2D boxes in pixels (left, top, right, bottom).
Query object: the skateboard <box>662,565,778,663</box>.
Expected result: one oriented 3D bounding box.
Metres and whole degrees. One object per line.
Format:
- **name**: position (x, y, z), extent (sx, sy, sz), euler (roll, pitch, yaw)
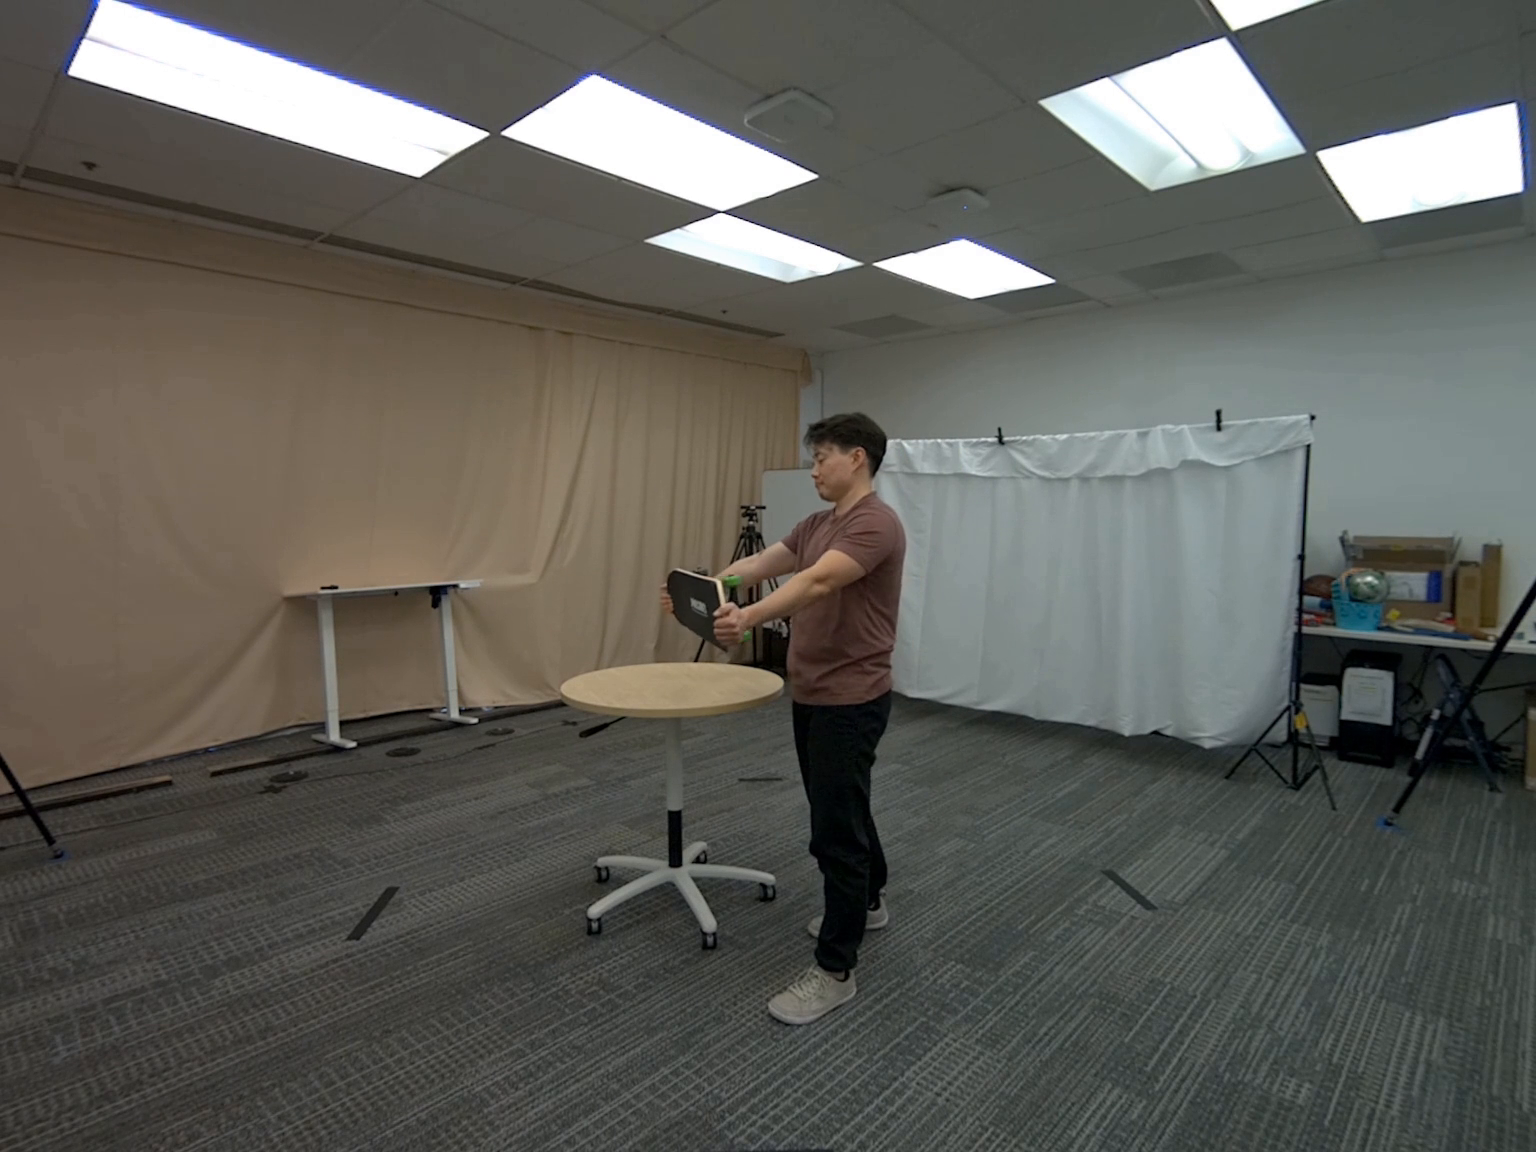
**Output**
- **skateboard**: position (-0.167, 0.087, 2.468), extent (0.108, 0.193, 0.801), euler (-5, 5, -18)
